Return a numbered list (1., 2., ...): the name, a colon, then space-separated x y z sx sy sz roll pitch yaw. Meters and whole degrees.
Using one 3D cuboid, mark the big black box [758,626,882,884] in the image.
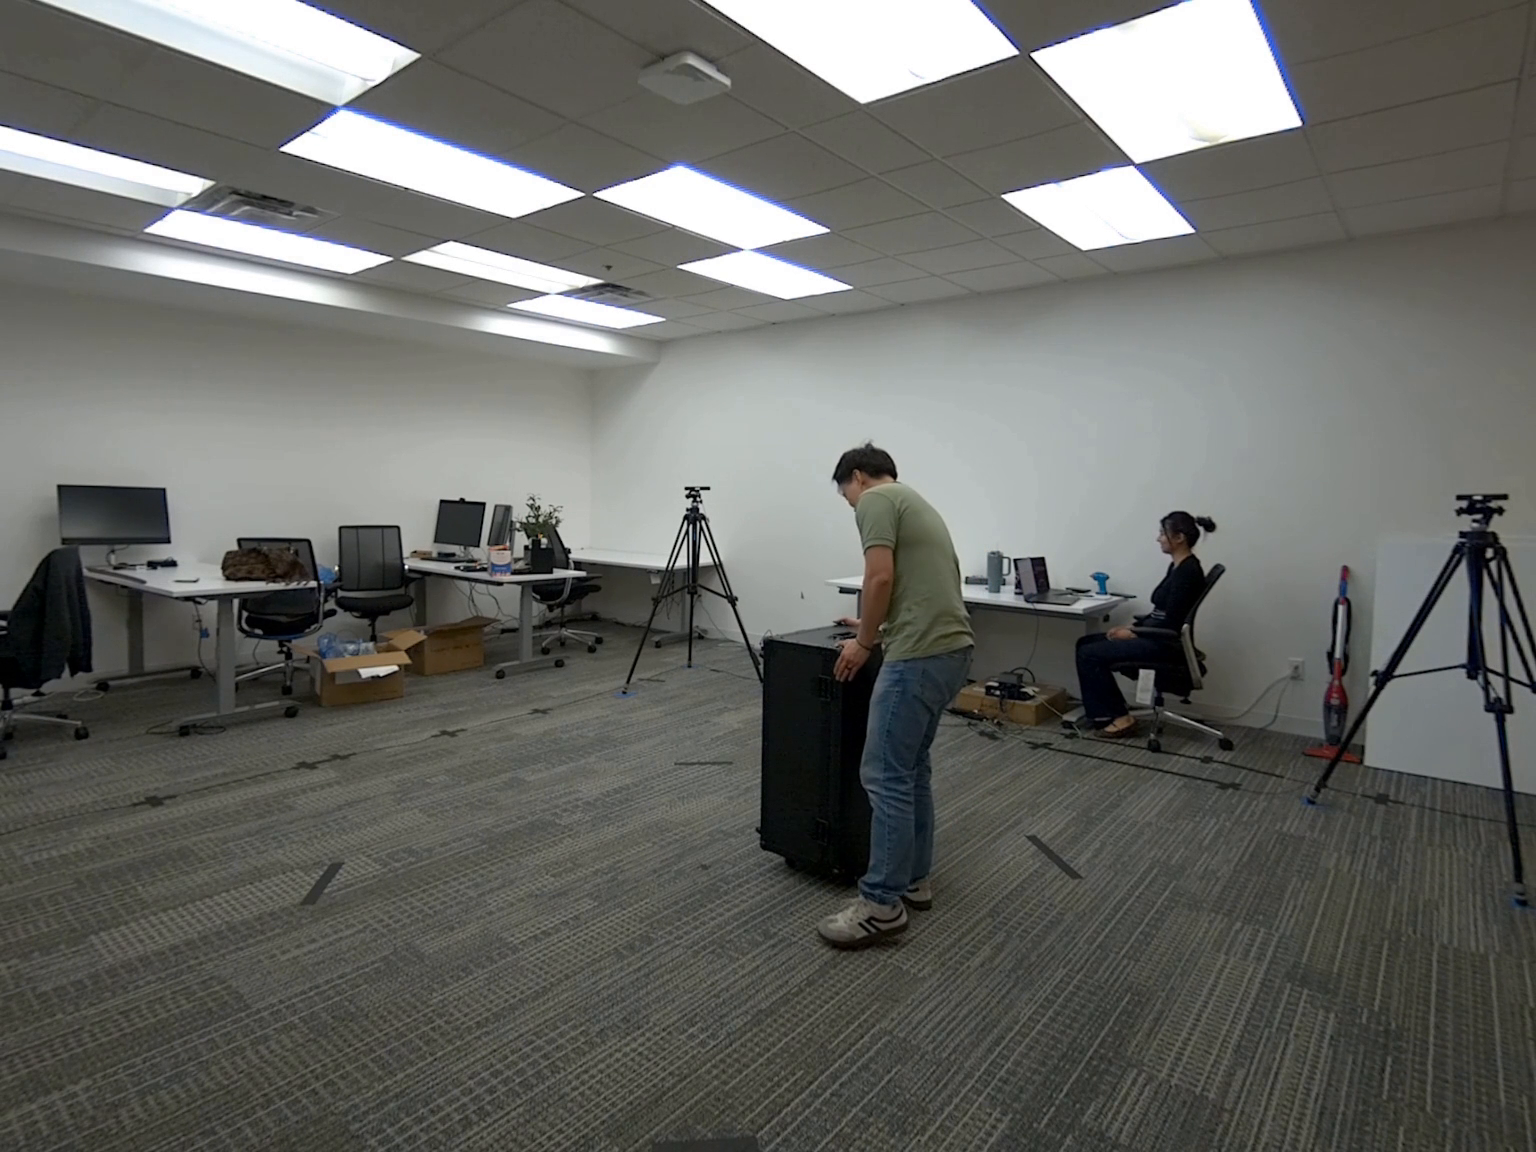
1. big black box: 0.243 0.639 3.166 0.409 0.859 0.505 3 4 42
